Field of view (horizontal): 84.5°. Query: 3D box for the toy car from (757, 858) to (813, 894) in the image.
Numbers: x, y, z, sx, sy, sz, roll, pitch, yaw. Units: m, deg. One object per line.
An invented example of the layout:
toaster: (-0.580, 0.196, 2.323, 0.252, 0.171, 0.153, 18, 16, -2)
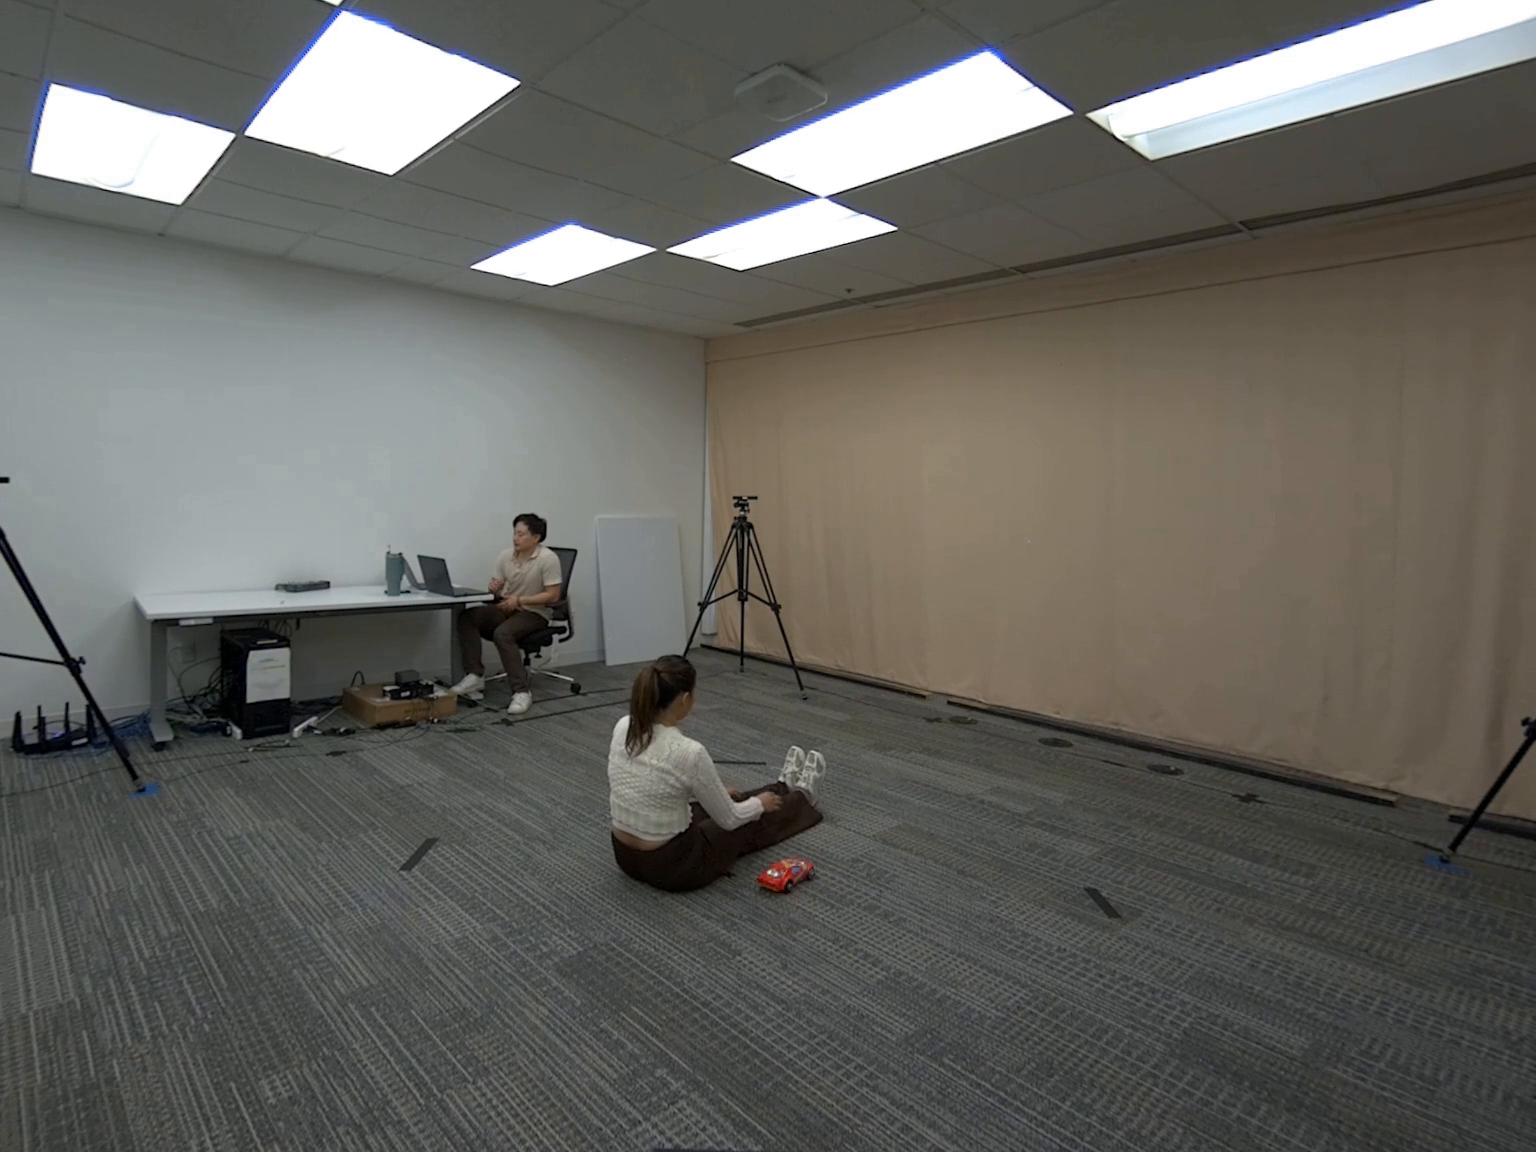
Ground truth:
toy car: (0.050, 1.080, 3.032, 0.133, 0.083, 0.247, 6, -4, 38)
